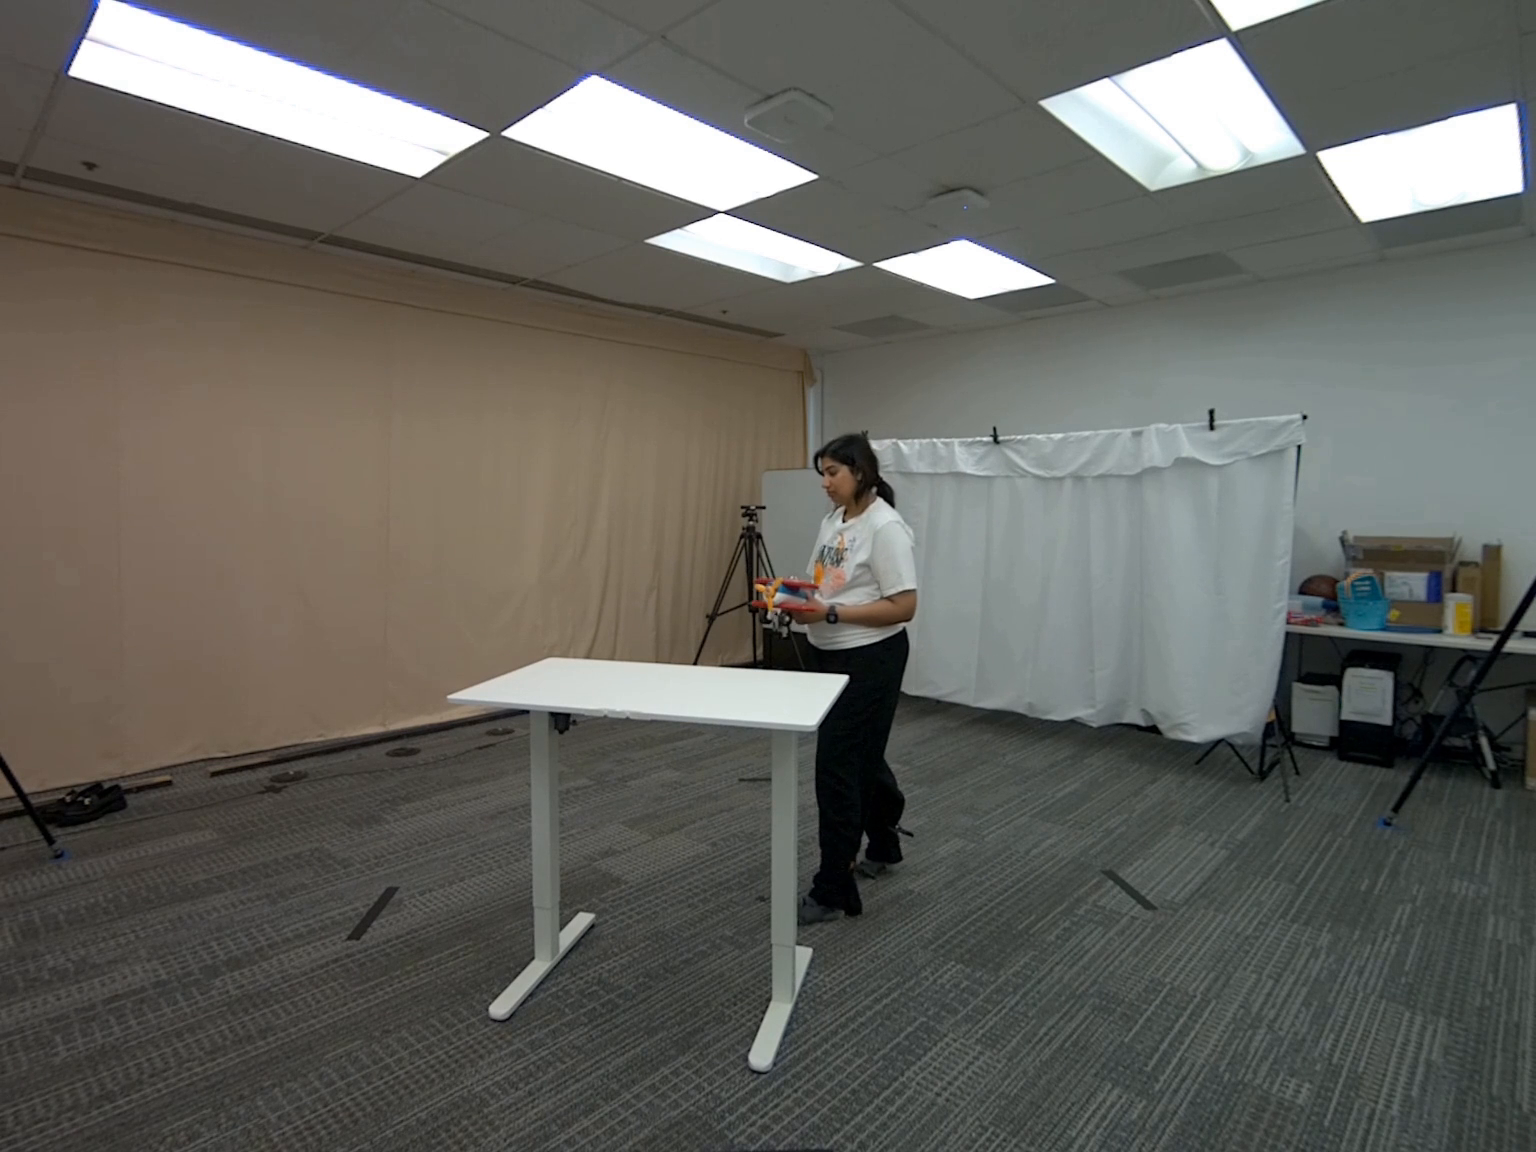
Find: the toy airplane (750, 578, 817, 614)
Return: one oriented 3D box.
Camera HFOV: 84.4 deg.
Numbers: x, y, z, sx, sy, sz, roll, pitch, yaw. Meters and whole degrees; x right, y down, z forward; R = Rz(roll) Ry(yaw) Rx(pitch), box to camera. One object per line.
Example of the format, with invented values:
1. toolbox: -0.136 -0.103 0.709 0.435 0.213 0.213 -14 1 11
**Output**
1. toy airplane: 0.066 0.085 2.902 0.254 0.156 0.257 -1 3 10
